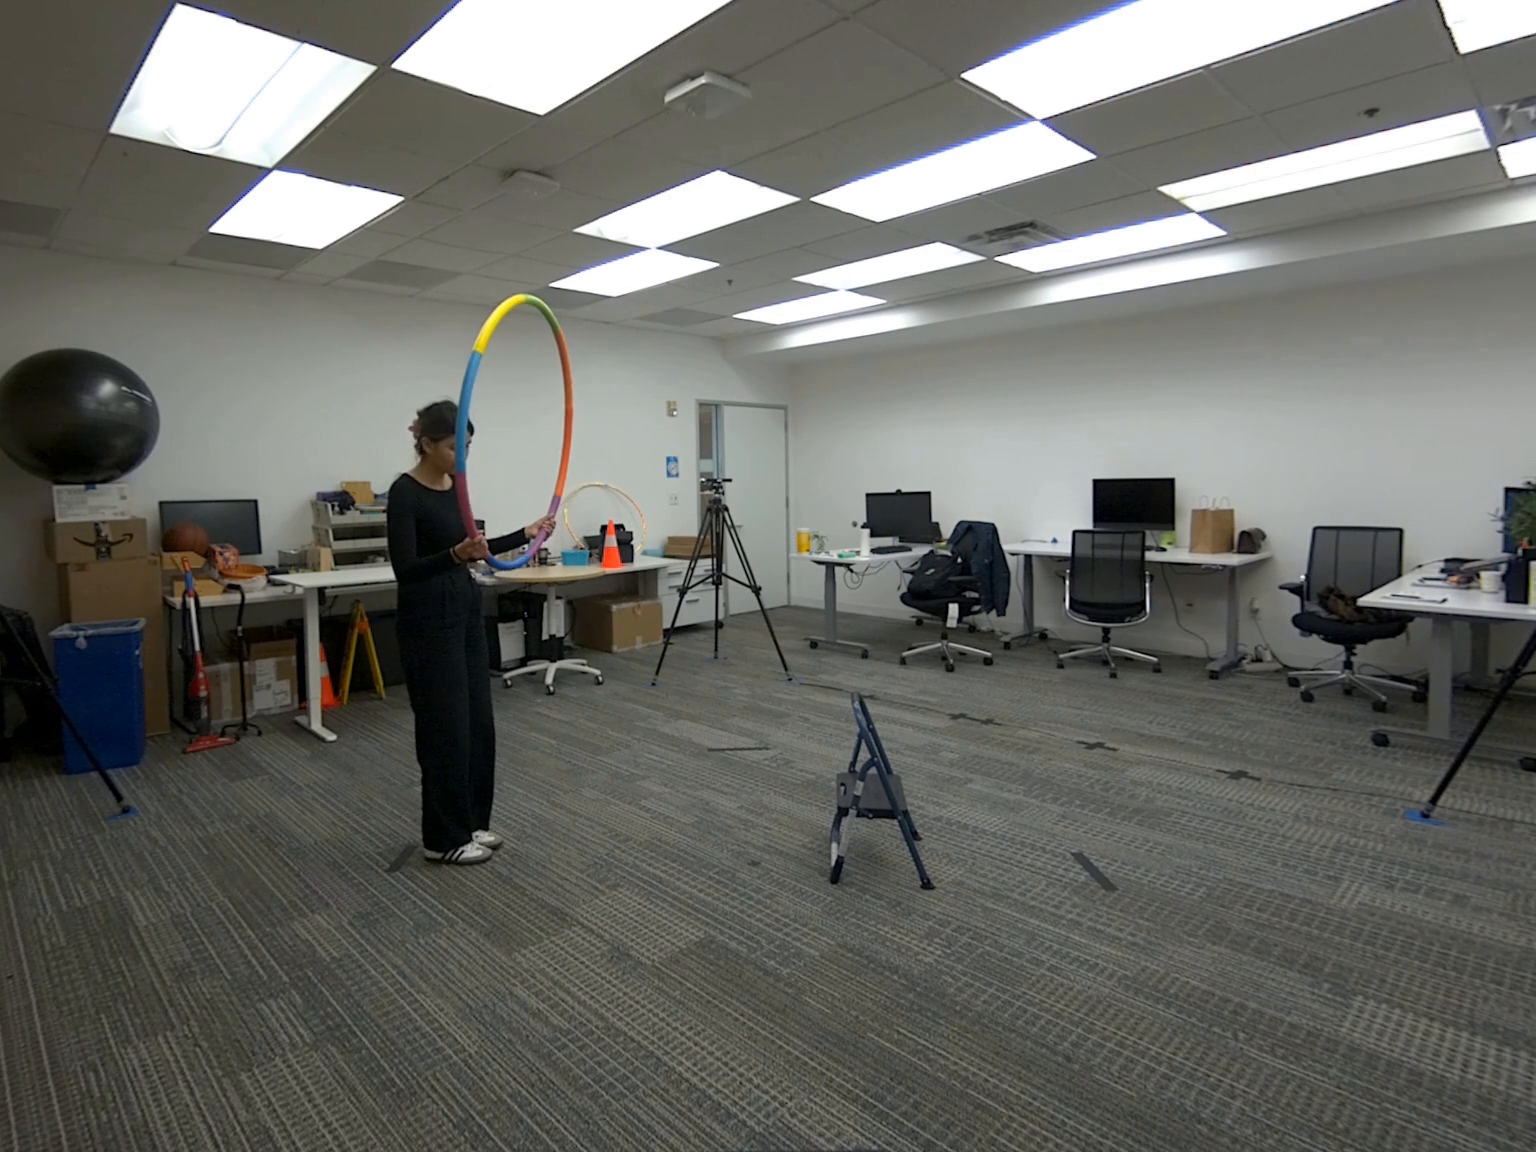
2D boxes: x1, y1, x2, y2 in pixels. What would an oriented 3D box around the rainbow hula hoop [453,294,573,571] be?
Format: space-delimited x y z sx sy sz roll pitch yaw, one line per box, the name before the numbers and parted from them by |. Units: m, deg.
rainbow hula hoop | -0.882 -0.499 3.075 0.036 0.975 0.974 7 6 6
